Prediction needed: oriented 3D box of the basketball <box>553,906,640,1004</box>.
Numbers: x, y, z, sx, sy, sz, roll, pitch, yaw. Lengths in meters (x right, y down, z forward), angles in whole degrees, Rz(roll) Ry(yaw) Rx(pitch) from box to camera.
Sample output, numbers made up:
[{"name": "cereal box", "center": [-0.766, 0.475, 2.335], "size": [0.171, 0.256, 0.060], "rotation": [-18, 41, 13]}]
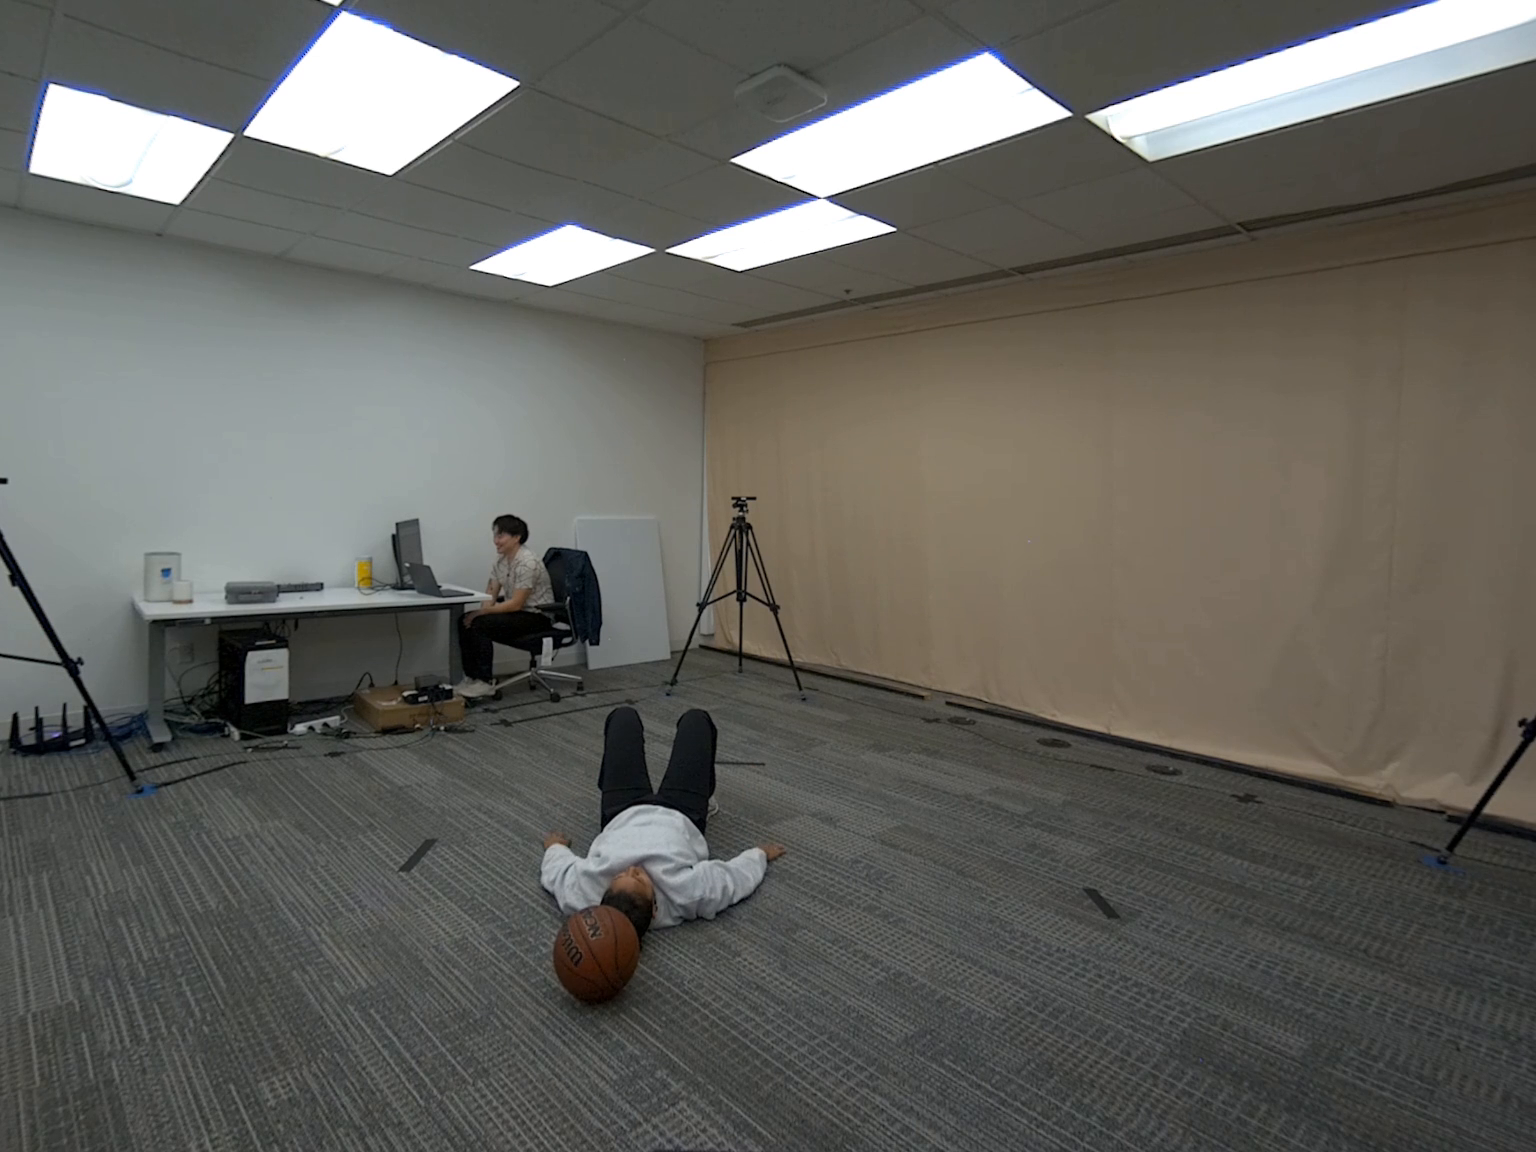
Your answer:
[{"name": "basketball", "center": [-0.484, 1.056, 2.343], "size": [0.236, 0.235, 0.237], "rotation": [1, 4, -1]}]
